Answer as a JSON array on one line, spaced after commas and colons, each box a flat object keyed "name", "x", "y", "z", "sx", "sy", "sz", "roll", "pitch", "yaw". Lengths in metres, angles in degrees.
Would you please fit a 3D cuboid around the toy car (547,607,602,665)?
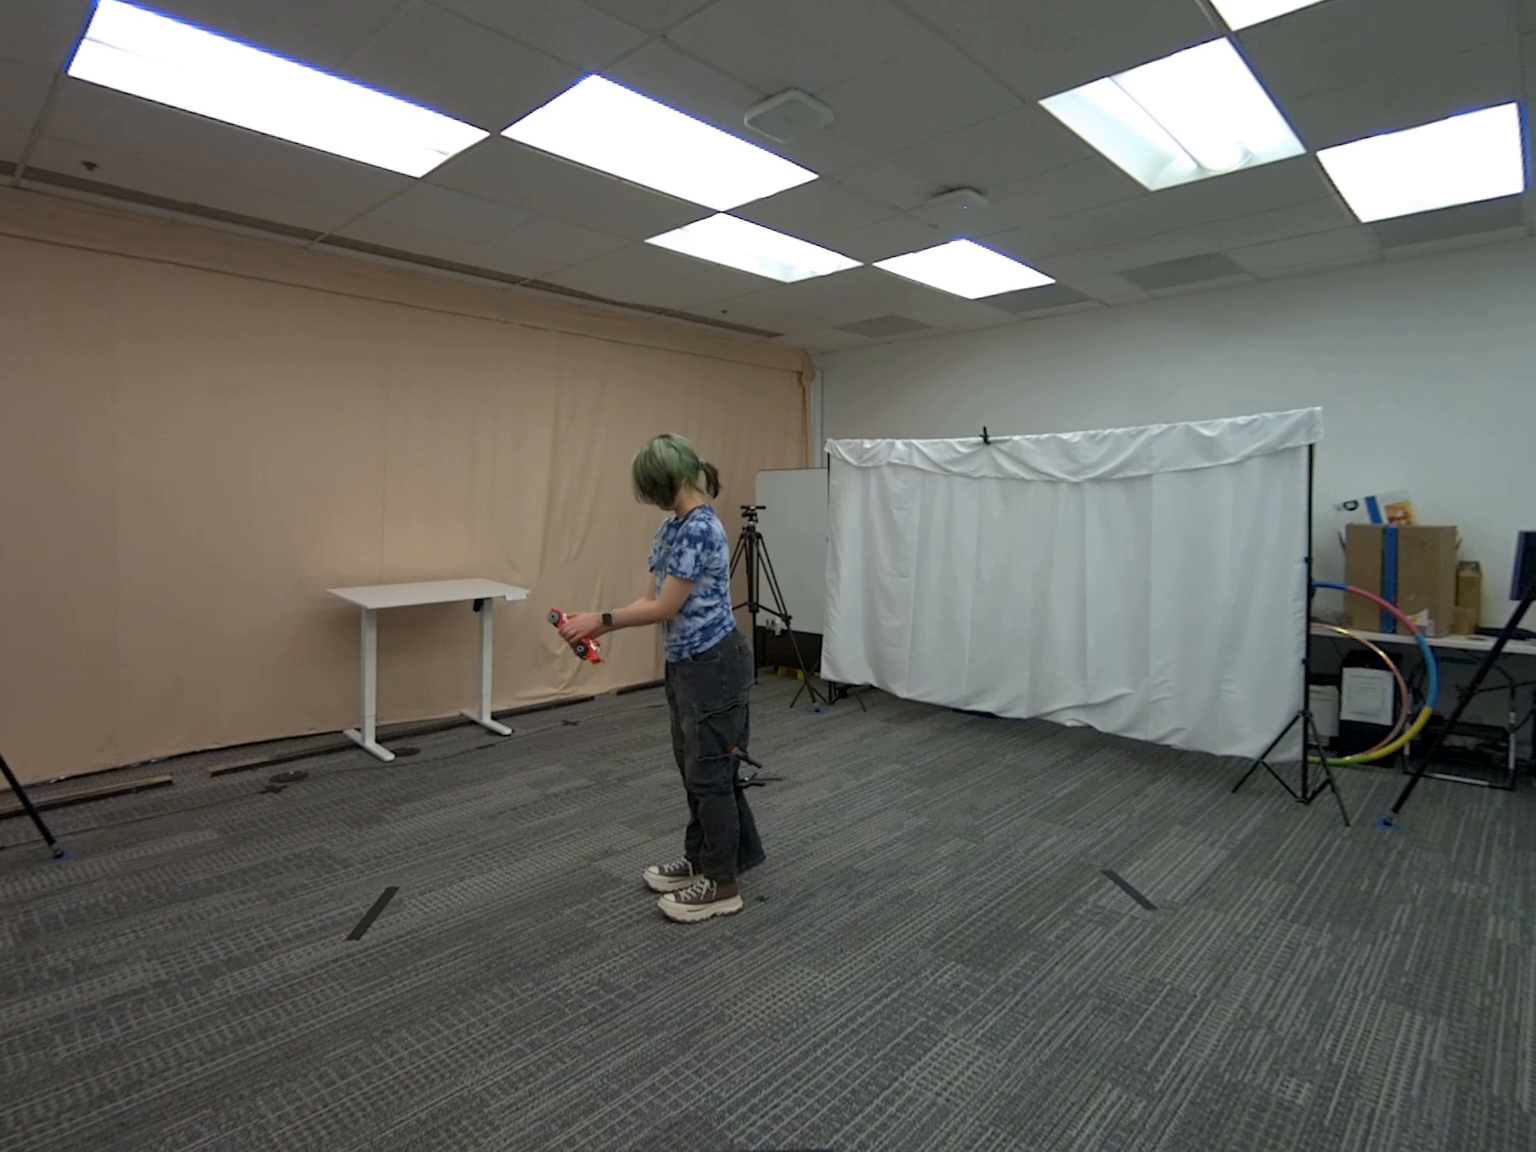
[{"name": "toy car", "x": -0.662, "y": 0.214, "z": 2.884, "sx": 0.257, "sy": 0.083, "sz": 0.129, "roll": 37, "pitch": -12, "yaw": 8}]
